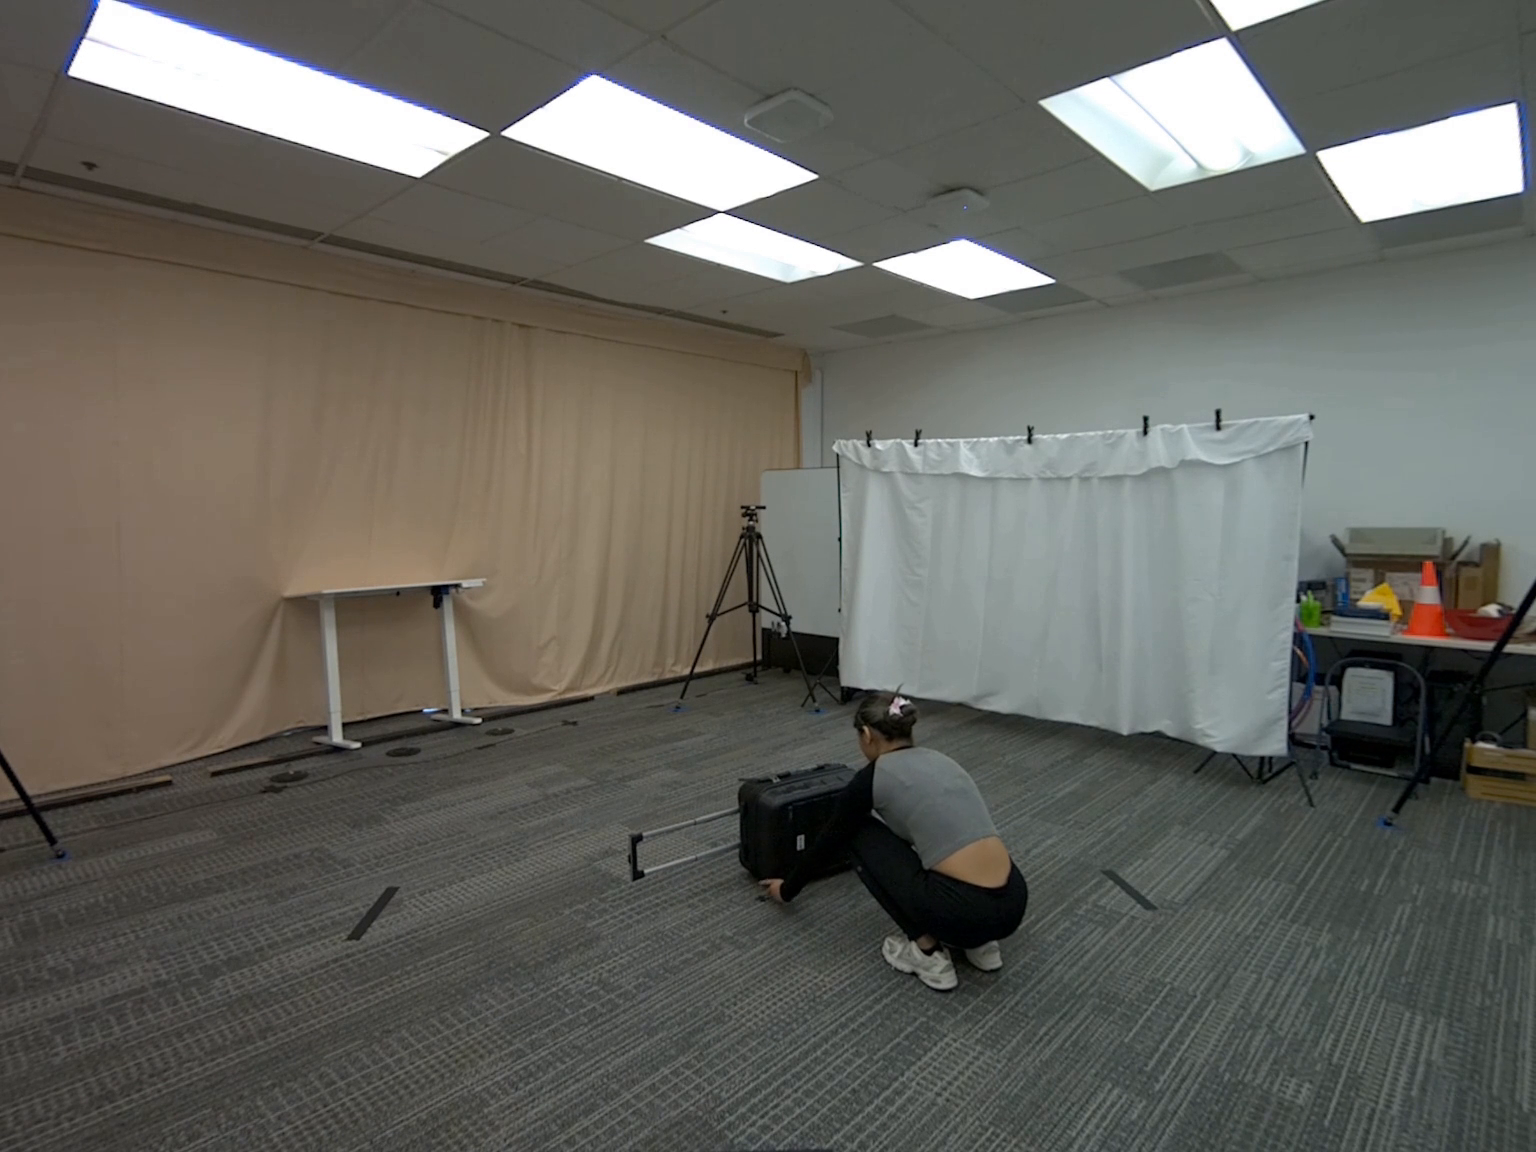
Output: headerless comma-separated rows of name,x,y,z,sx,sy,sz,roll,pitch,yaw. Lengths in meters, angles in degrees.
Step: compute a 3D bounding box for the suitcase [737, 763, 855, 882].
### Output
suitcase,-0.015,0.945,3.091,0.951,0.383,0.265,-3,3,-34
